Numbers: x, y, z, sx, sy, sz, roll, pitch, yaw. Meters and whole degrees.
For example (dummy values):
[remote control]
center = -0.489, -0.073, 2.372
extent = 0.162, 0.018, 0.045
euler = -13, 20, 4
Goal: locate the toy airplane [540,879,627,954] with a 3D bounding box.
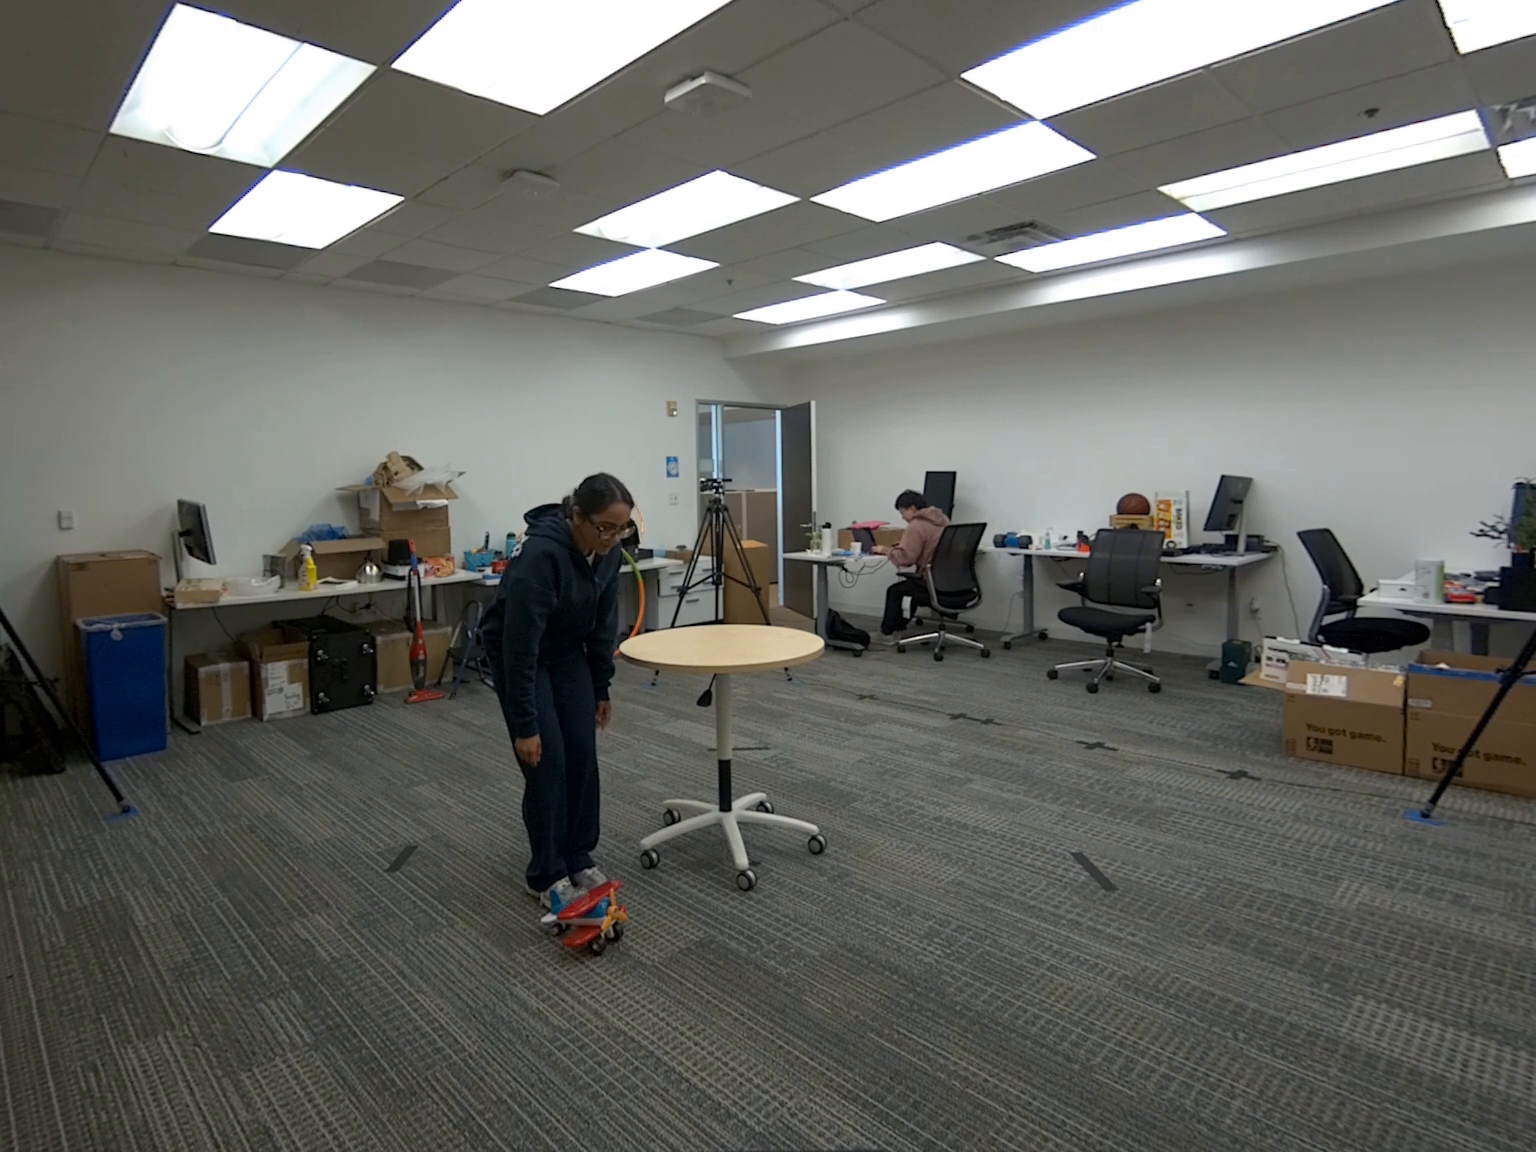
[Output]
[toy airplane]
center = -0.563, 1.040, 2.589
extent = 0.259, 0.156, 0.252
euler = 1, 6, 1
